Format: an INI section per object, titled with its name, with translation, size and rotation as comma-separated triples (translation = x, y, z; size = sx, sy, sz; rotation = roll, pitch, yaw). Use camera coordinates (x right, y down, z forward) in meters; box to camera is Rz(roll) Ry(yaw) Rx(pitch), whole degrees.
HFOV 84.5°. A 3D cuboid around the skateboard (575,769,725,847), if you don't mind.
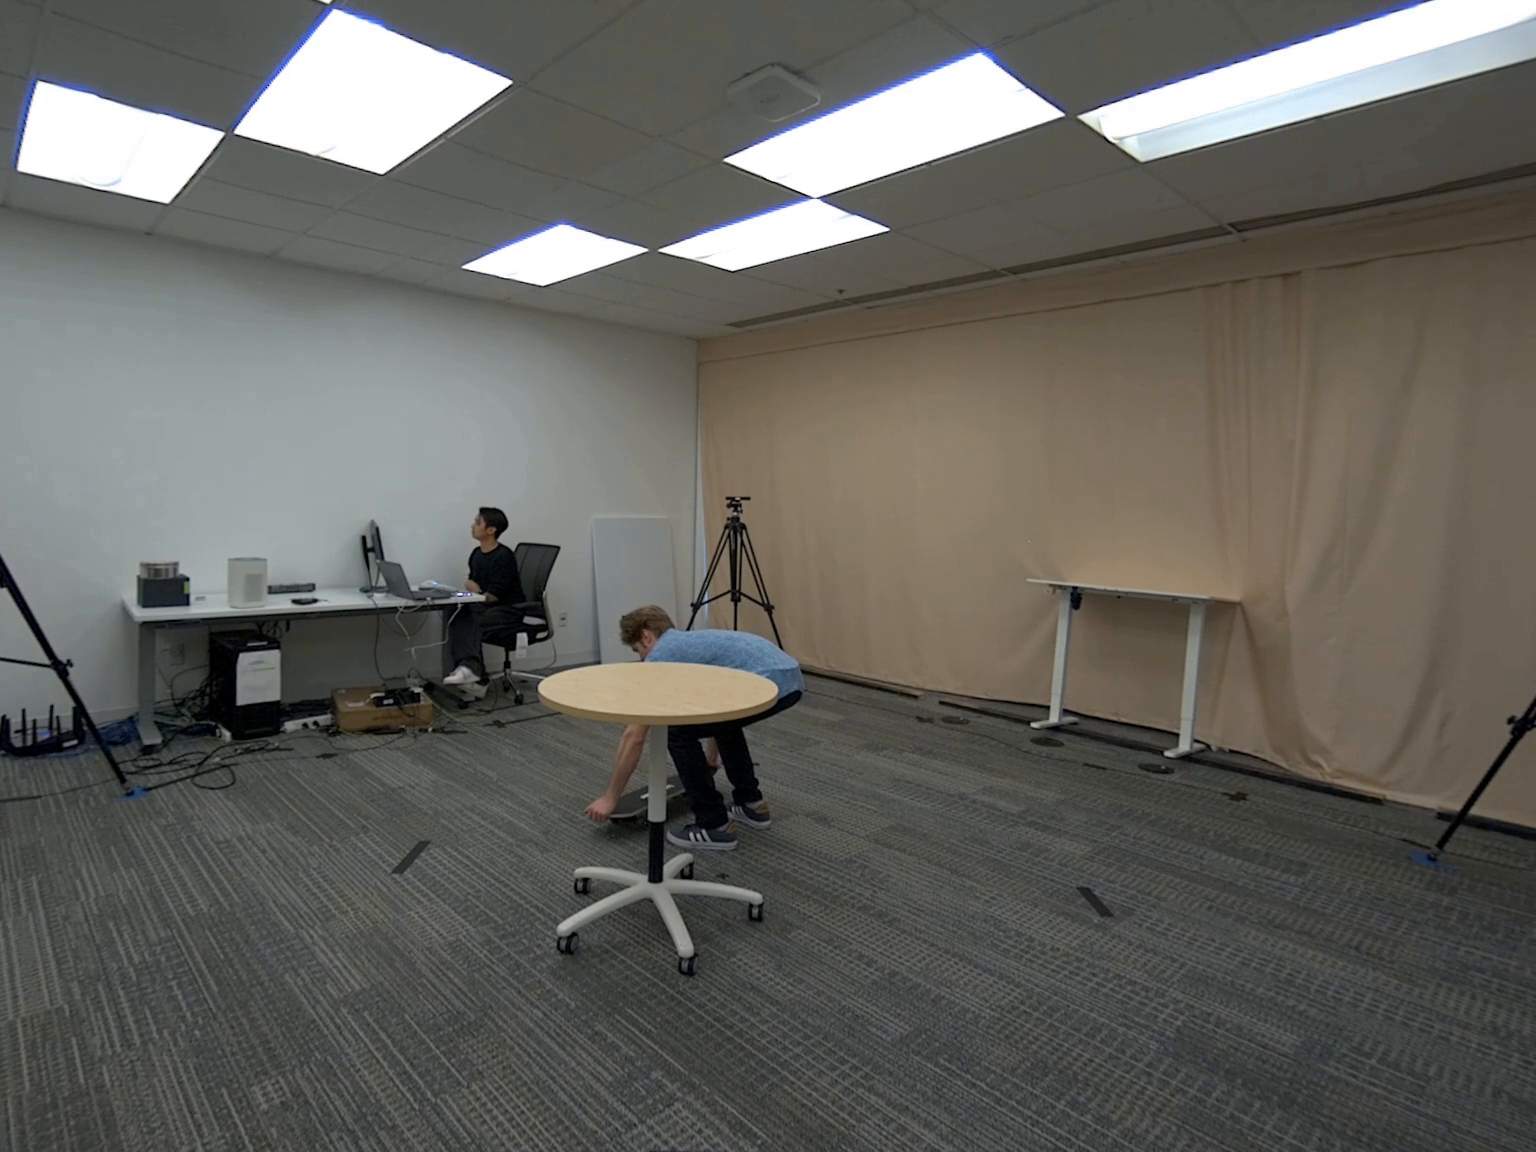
[skateboard]
translation = -0.497, 0.992, 3.714
size = 0.197, 0.110, 0.769
rotation = -2, 2, 32
